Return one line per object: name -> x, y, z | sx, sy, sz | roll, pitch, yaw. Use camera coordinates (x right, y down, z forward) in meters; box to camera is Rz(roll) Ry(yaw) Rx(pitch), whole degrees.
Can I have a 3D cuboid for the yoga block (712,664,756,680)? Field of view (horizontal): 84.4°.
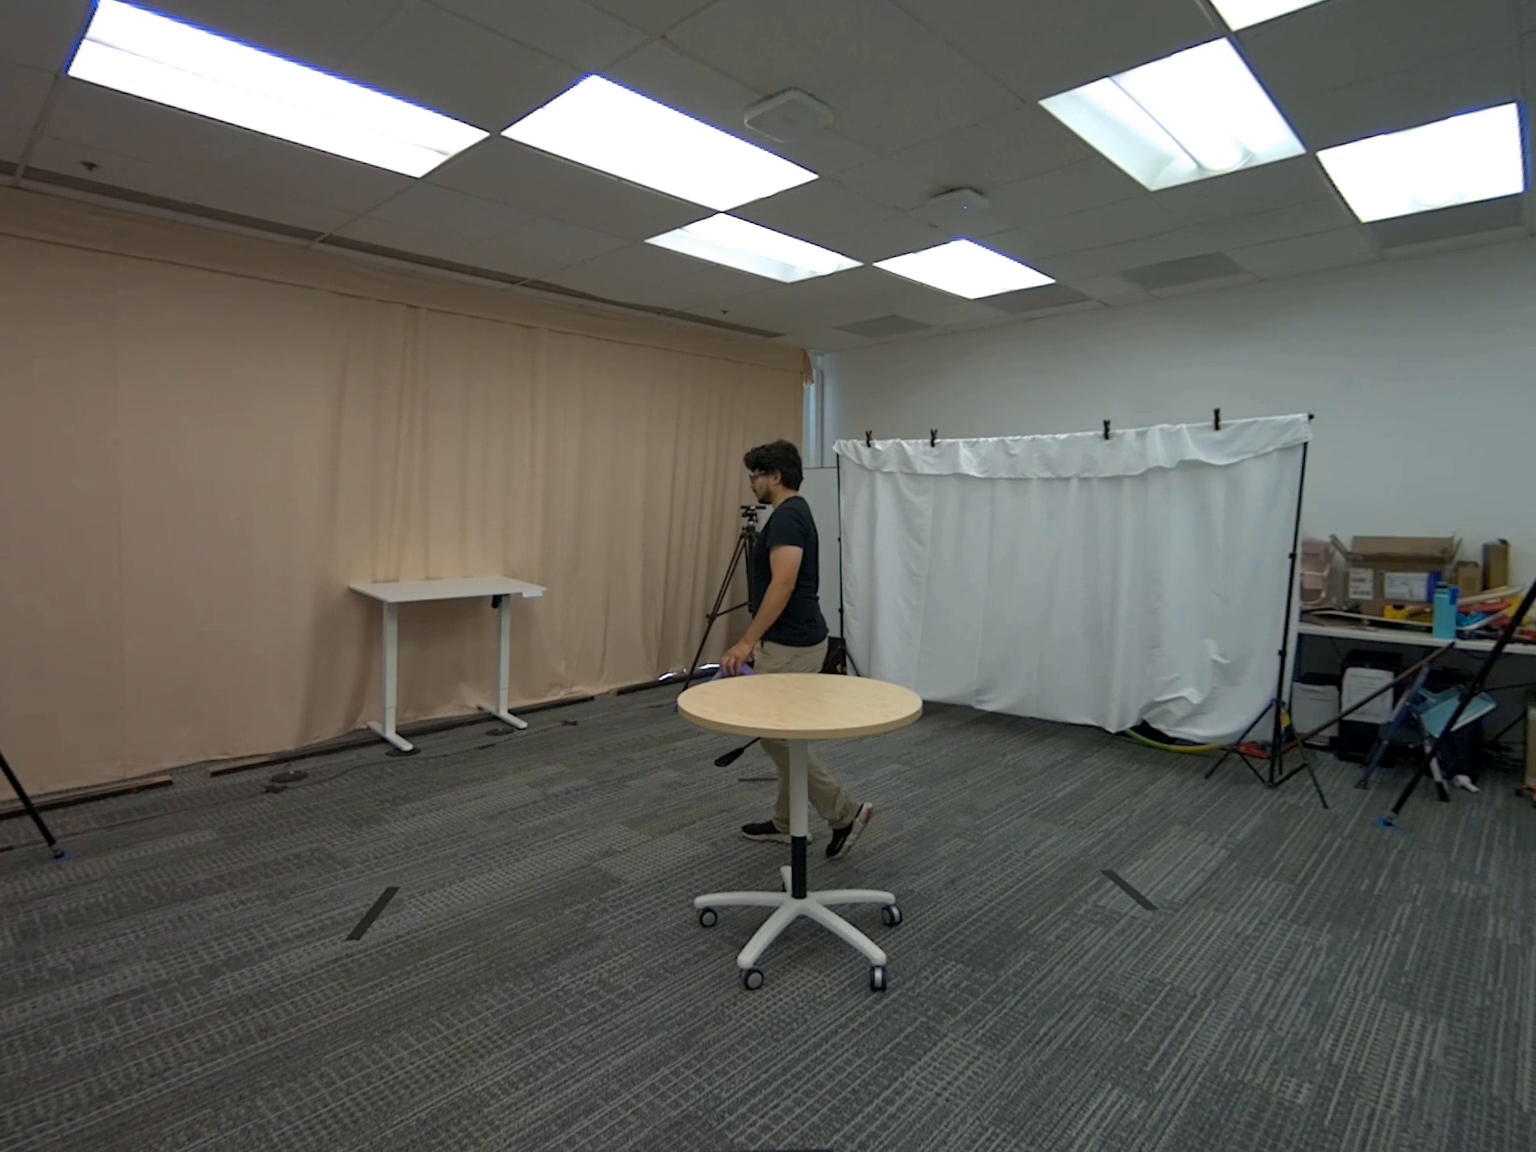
yoga block -> -0.133, 0.439, 3.203 | 0.147, 0.230, 0.077 | 38, 16, -8
